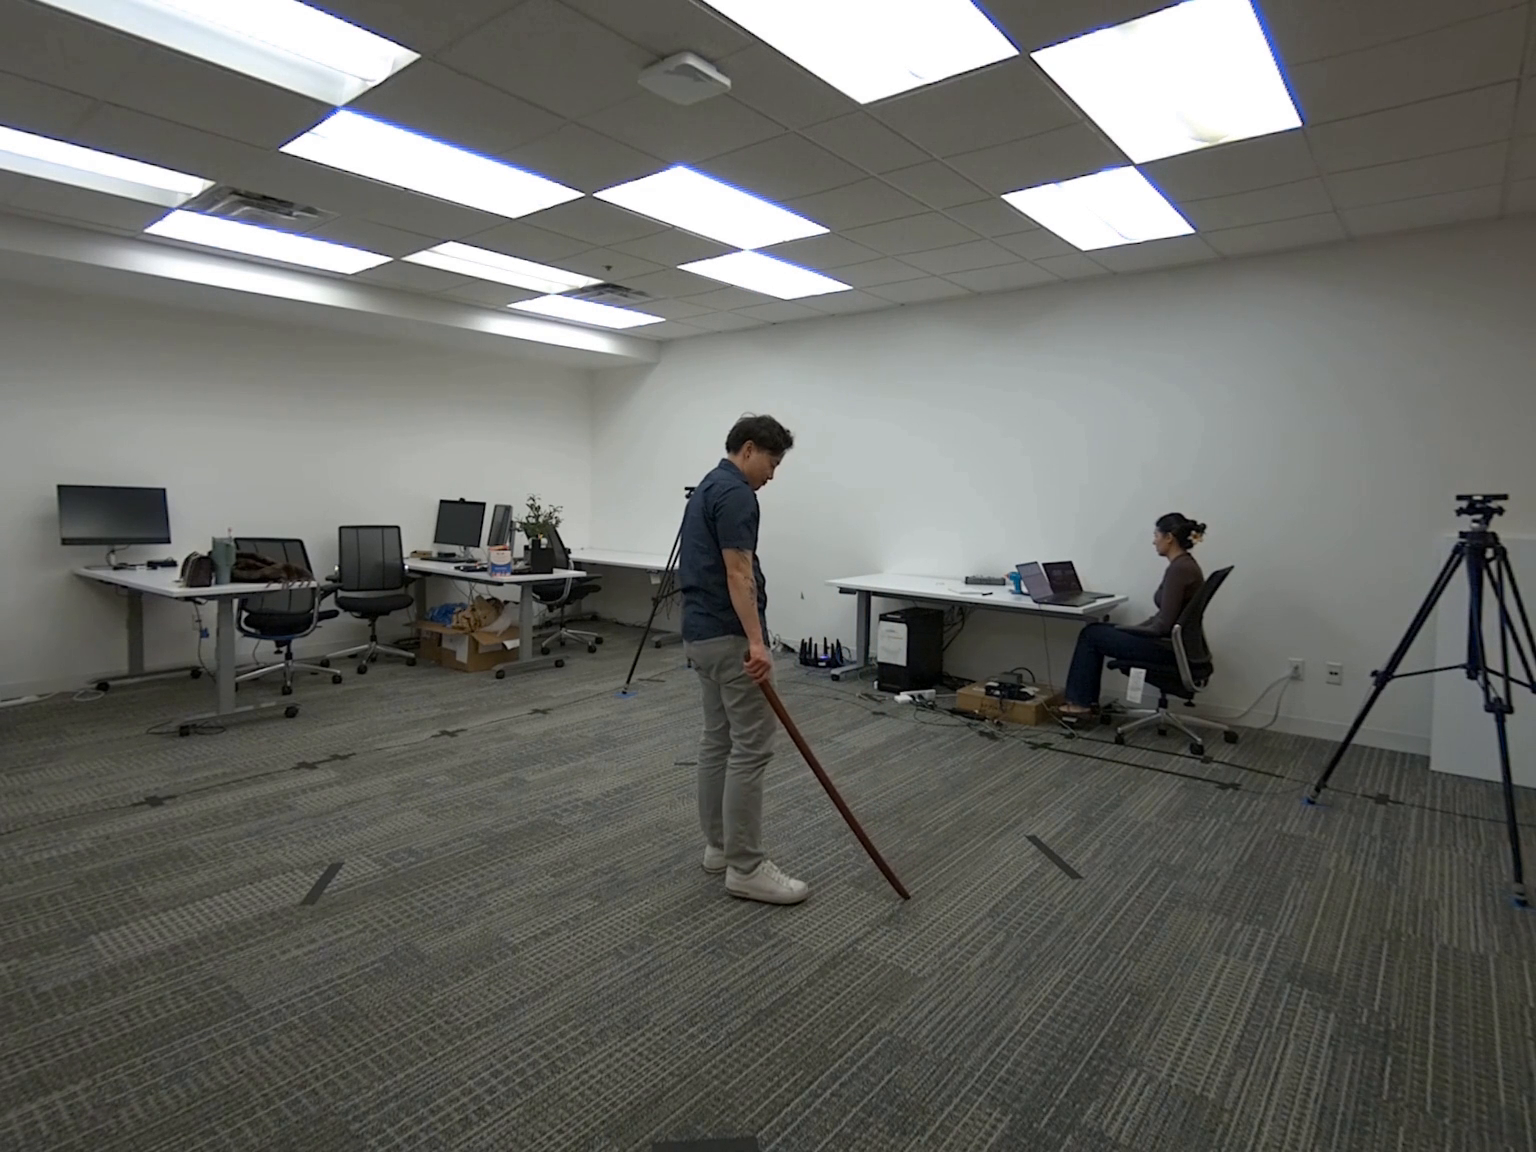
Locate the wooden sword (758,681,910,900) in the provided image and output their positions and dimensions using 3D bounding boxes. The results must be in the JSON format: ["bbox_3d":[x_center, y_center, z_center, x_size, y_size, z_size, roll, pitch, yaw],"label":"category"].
[{"bbox_3d":[0.201,0.691,2.849,0.024,1.015,0.051,-30,7,16],"label":"wooden sword"}]
